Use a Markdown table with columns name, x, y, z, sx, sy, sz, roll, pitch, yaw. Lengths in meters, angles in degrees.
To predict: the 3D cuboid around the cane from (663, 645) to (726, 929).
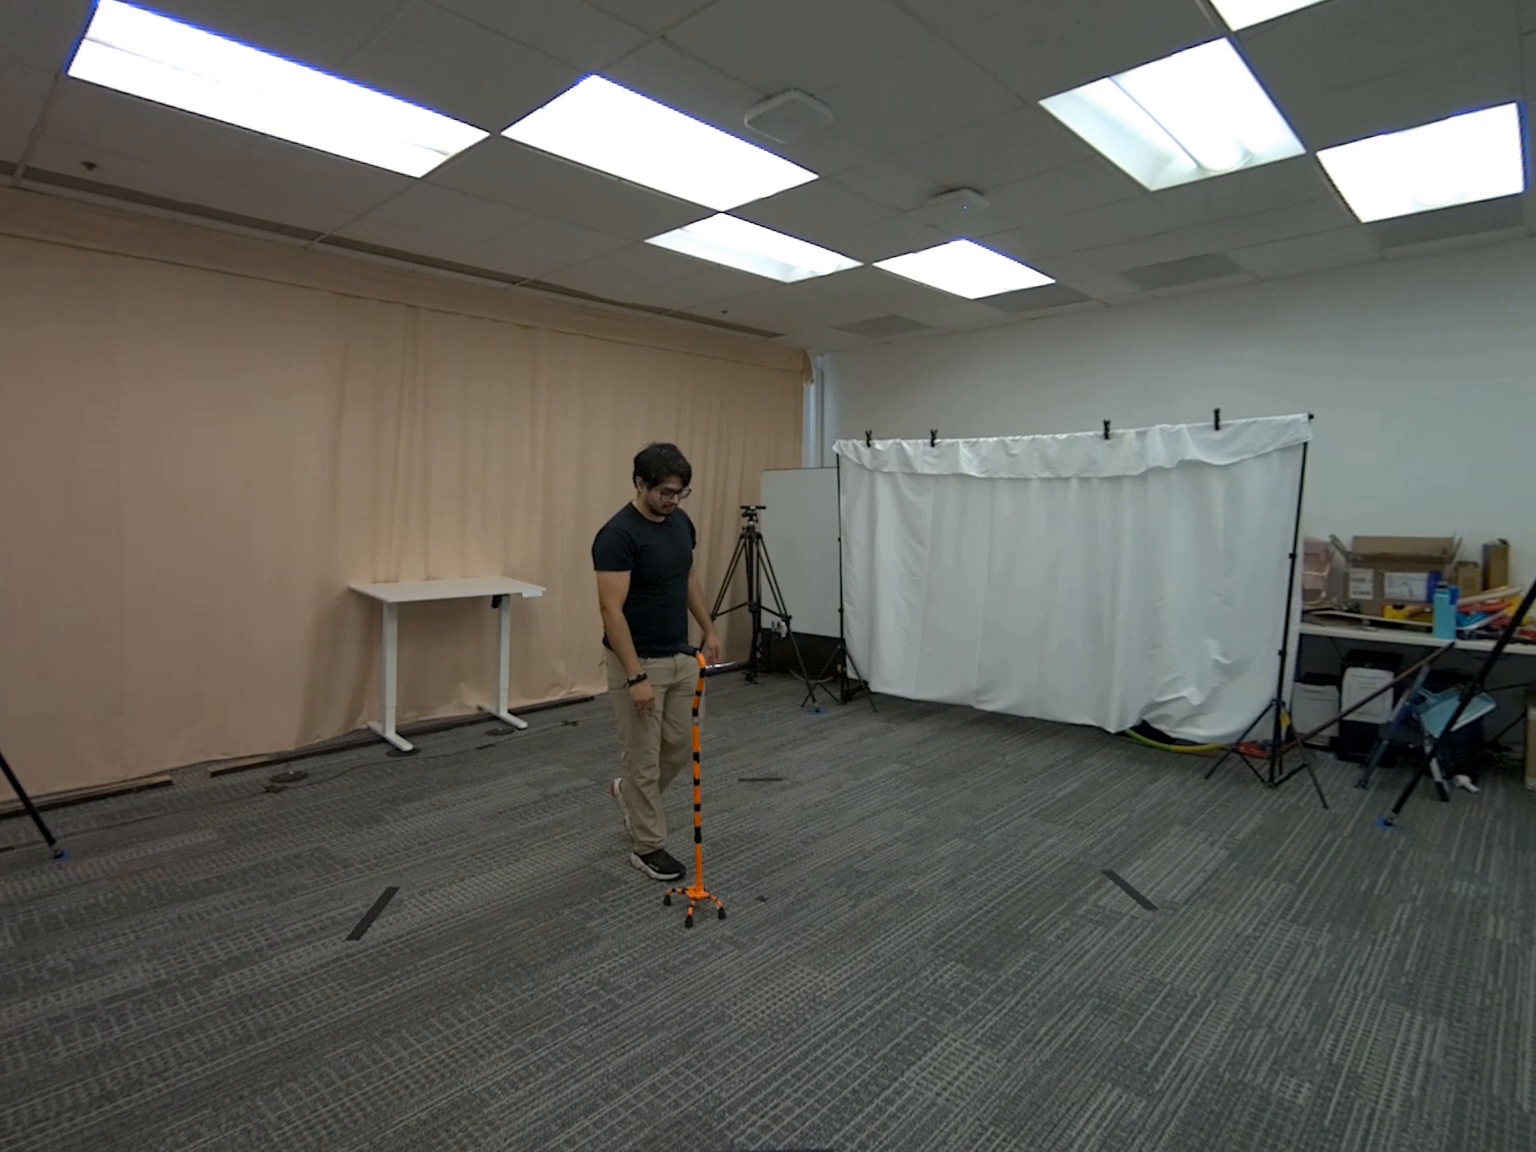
| name | x | y | z | sx | sy | sz | roll | pitch | yaw |
| --- | --- | --- | --- | --- | --- | --- | --- | --- | --- |
| cane | -0.259 | 0.705 | 2.877 | 0.148 | 0.906 | 0.212 | -2 | 3 | -29 |
